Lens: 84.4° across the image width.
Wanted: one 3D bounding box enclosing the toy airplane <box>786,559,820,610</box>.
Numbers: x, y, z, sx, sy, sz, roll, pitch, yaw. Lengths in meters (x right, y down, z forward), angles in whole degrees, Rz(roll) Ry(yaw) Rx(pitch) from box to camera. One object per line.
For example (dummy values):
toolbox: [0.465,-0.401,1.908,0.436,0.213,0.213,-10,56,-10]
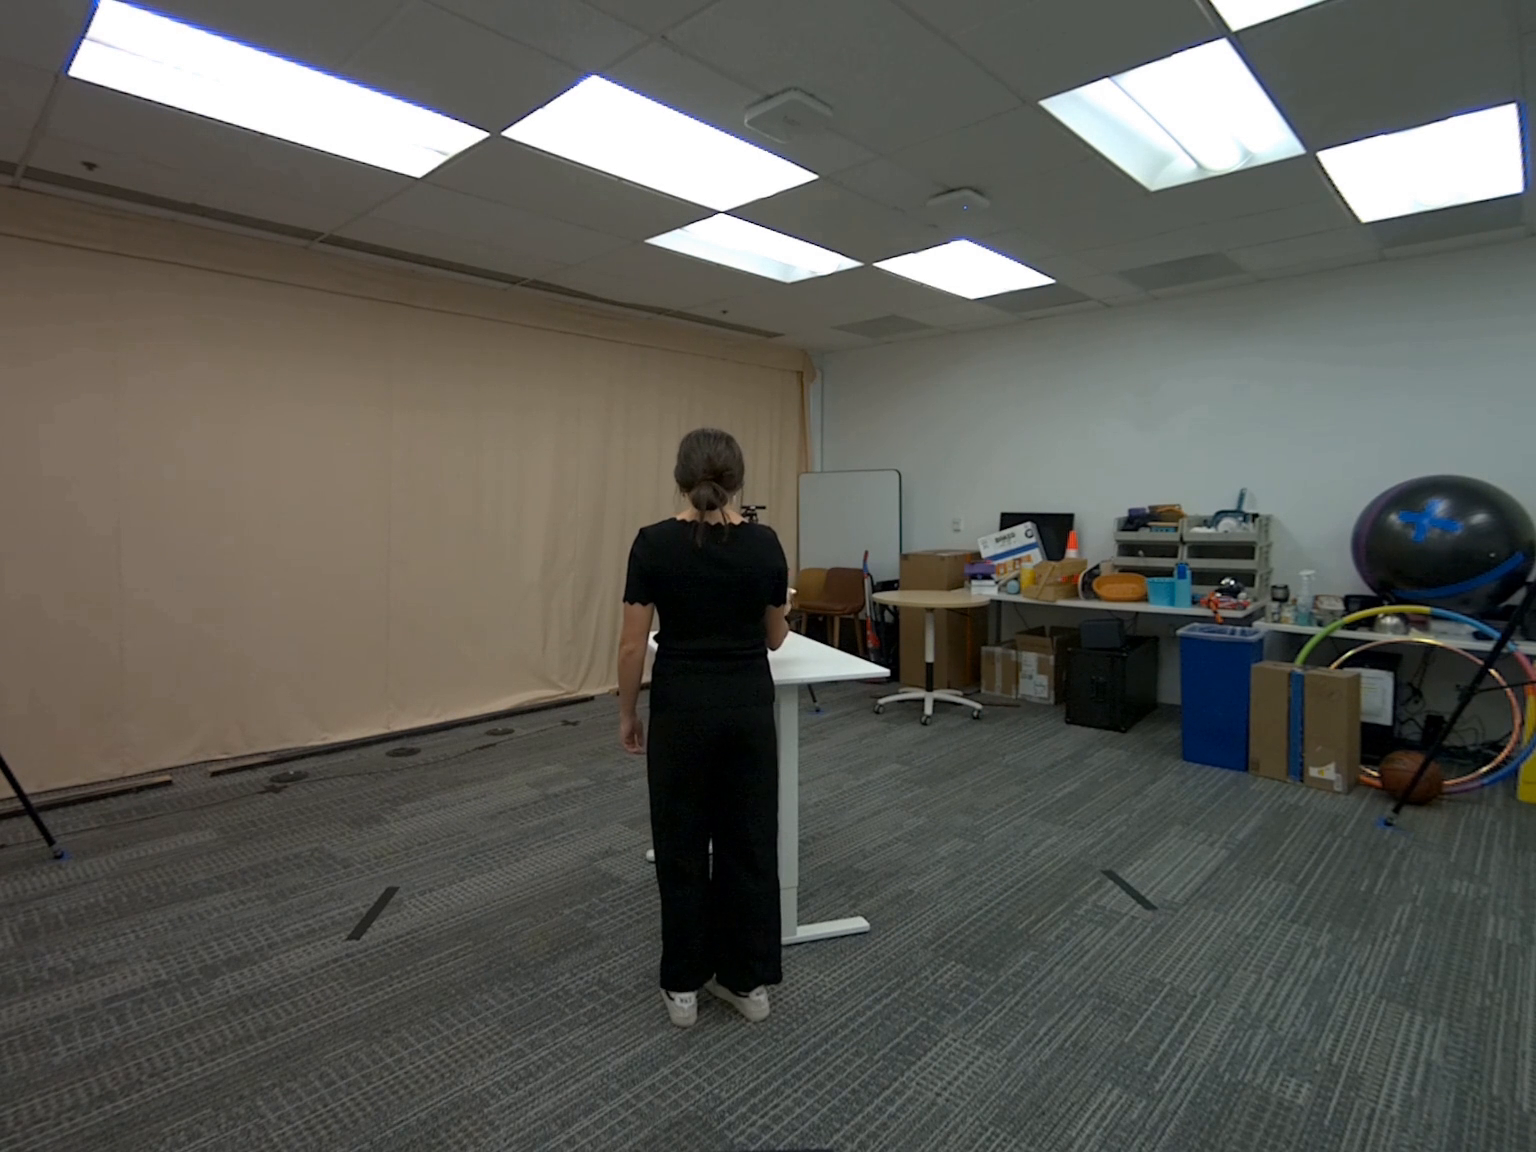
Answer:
toy airplane: [-0.011,0.031,2.757,0.266,0.157,0.244,-5,-2,32]
